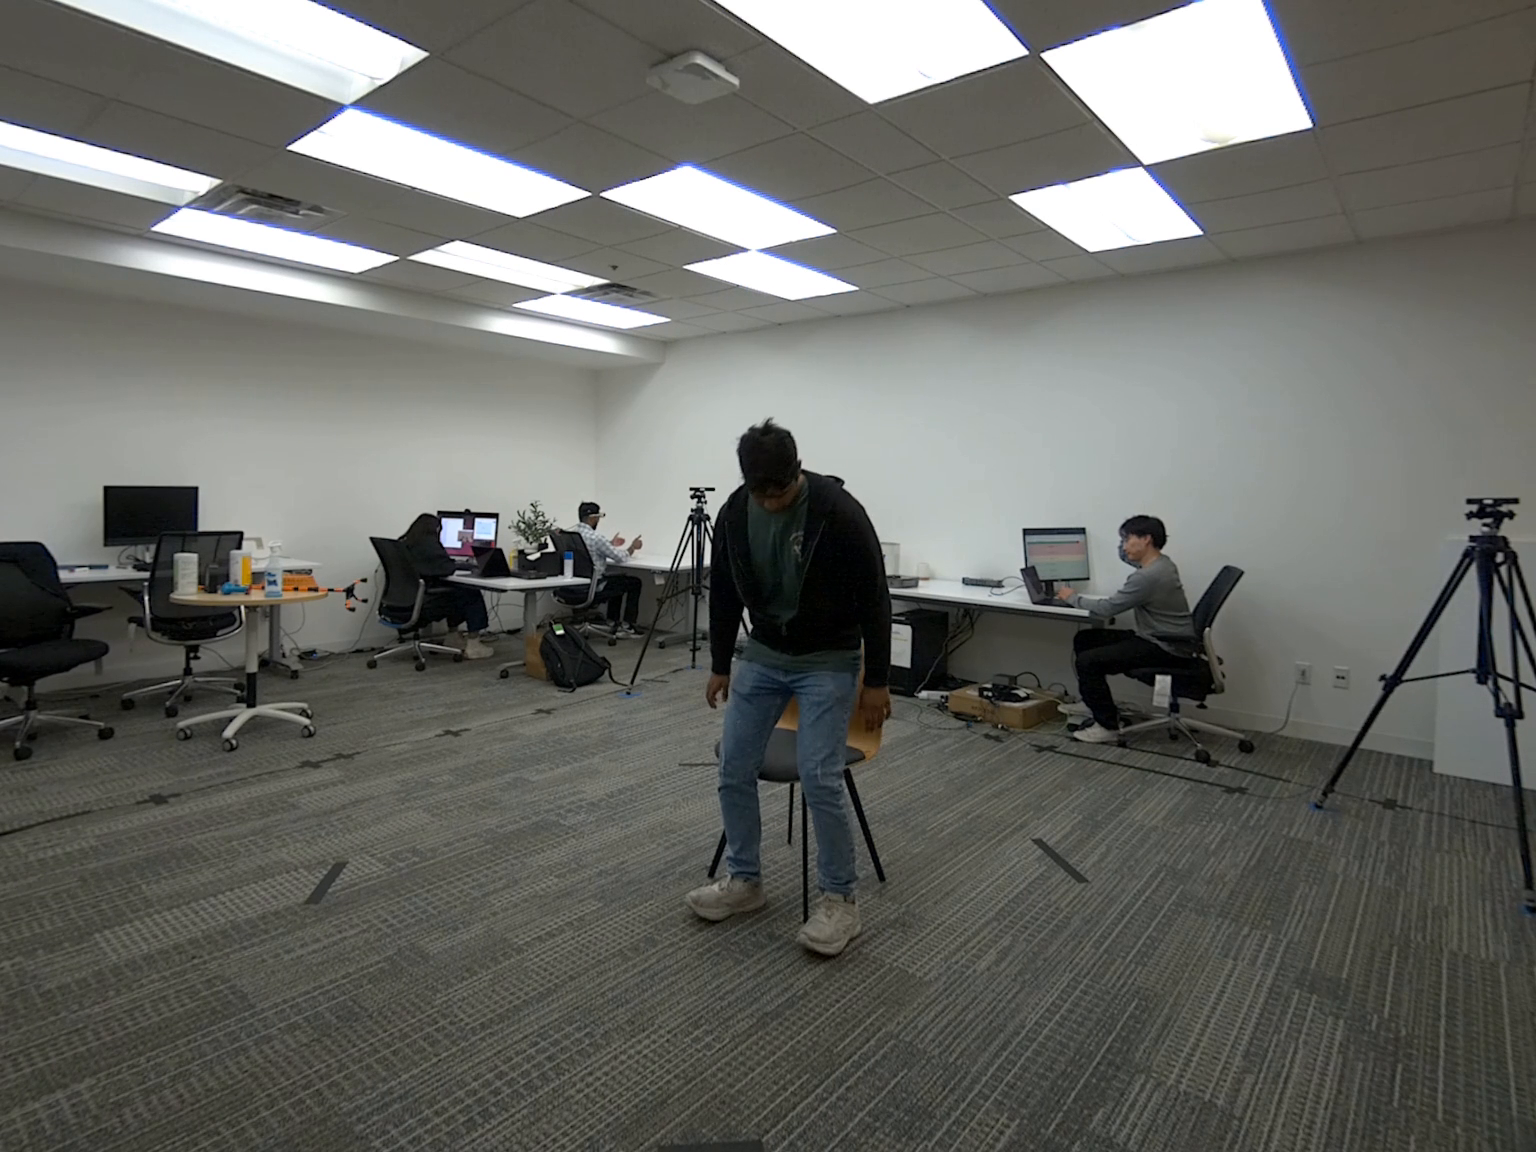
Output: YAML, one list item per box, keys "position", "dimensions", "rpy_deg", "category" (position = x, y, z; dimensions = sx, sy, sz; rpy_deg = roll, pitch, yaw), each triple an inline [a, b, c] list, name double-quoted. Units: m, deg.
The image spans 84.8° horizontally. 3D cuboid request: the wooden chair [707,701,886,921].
- position: [0.098, 0.655, 3.010]
  dimensions: [0.495, 0.877, 0.505]
  rpy_deg: [5, 1, 43]
  category: "wooden chair"
